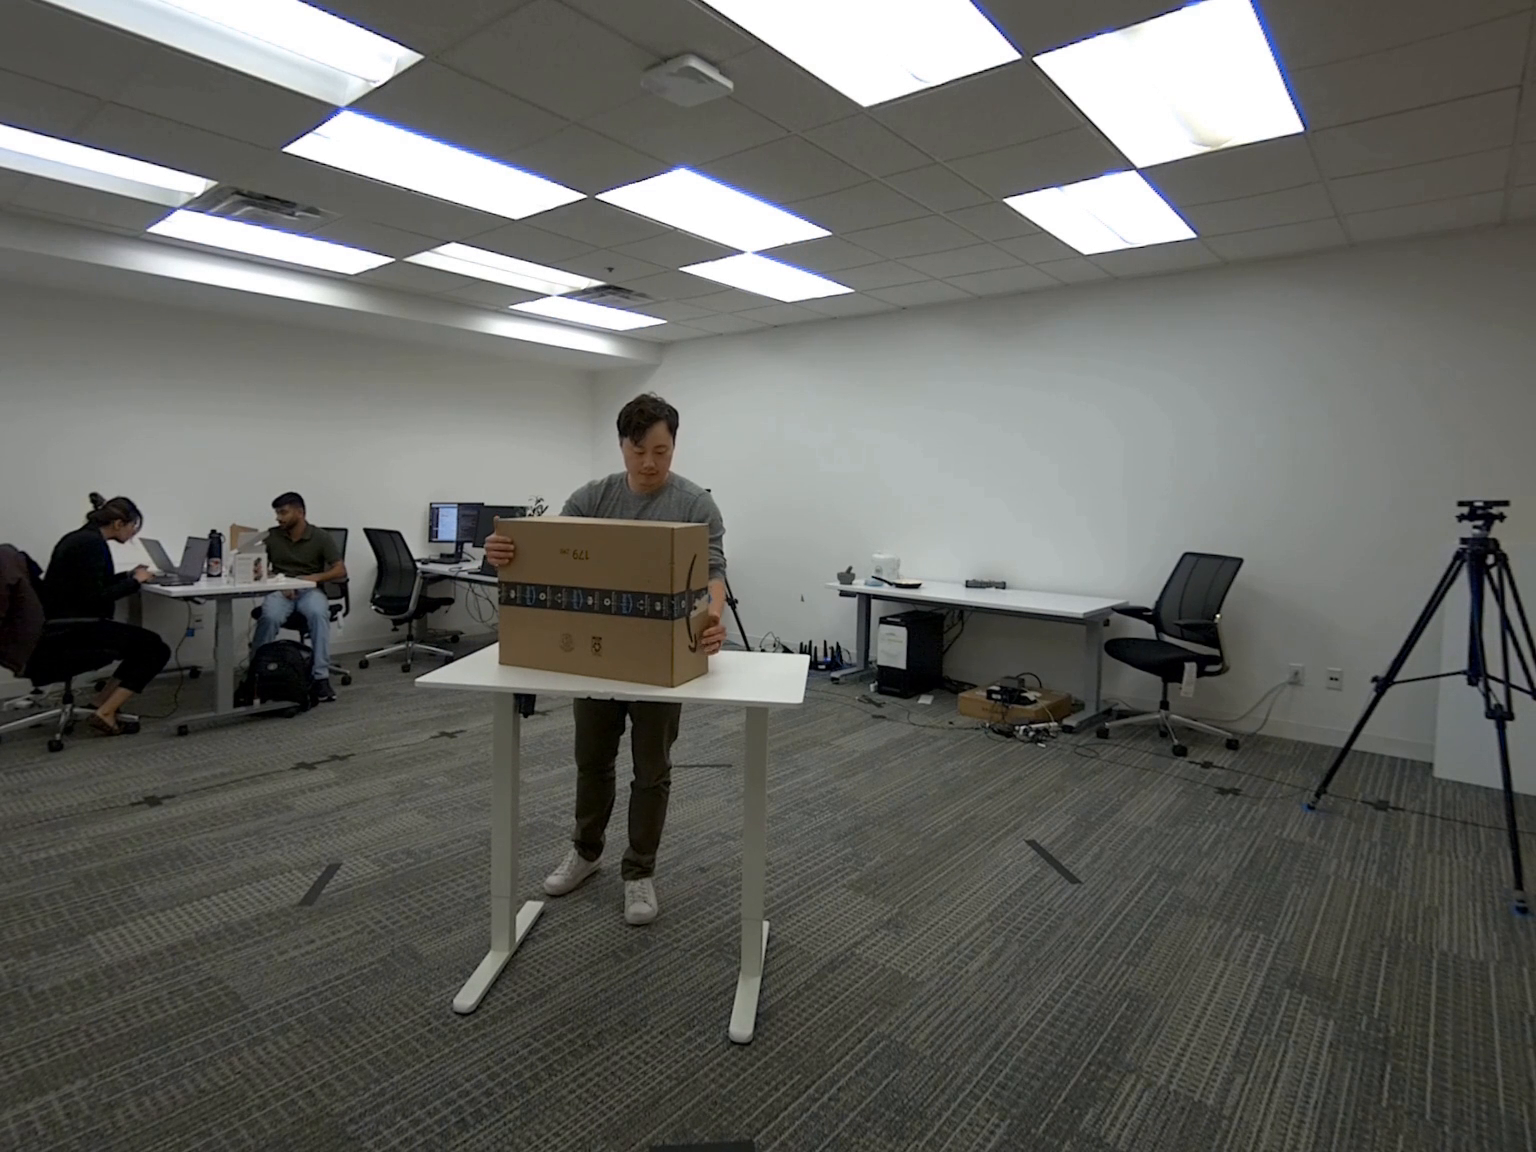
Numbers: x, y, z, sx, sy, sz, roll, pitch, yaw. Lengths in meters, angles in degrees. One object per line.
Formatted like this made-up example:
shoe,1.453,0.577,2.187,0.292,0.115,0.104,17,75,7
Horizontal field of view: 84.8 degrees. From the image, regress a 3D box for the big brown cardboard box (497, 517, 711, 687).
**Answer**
big brown cardboard box,-0.478,0.053,2.382,0.604,0.416,0.228,4,5,24
